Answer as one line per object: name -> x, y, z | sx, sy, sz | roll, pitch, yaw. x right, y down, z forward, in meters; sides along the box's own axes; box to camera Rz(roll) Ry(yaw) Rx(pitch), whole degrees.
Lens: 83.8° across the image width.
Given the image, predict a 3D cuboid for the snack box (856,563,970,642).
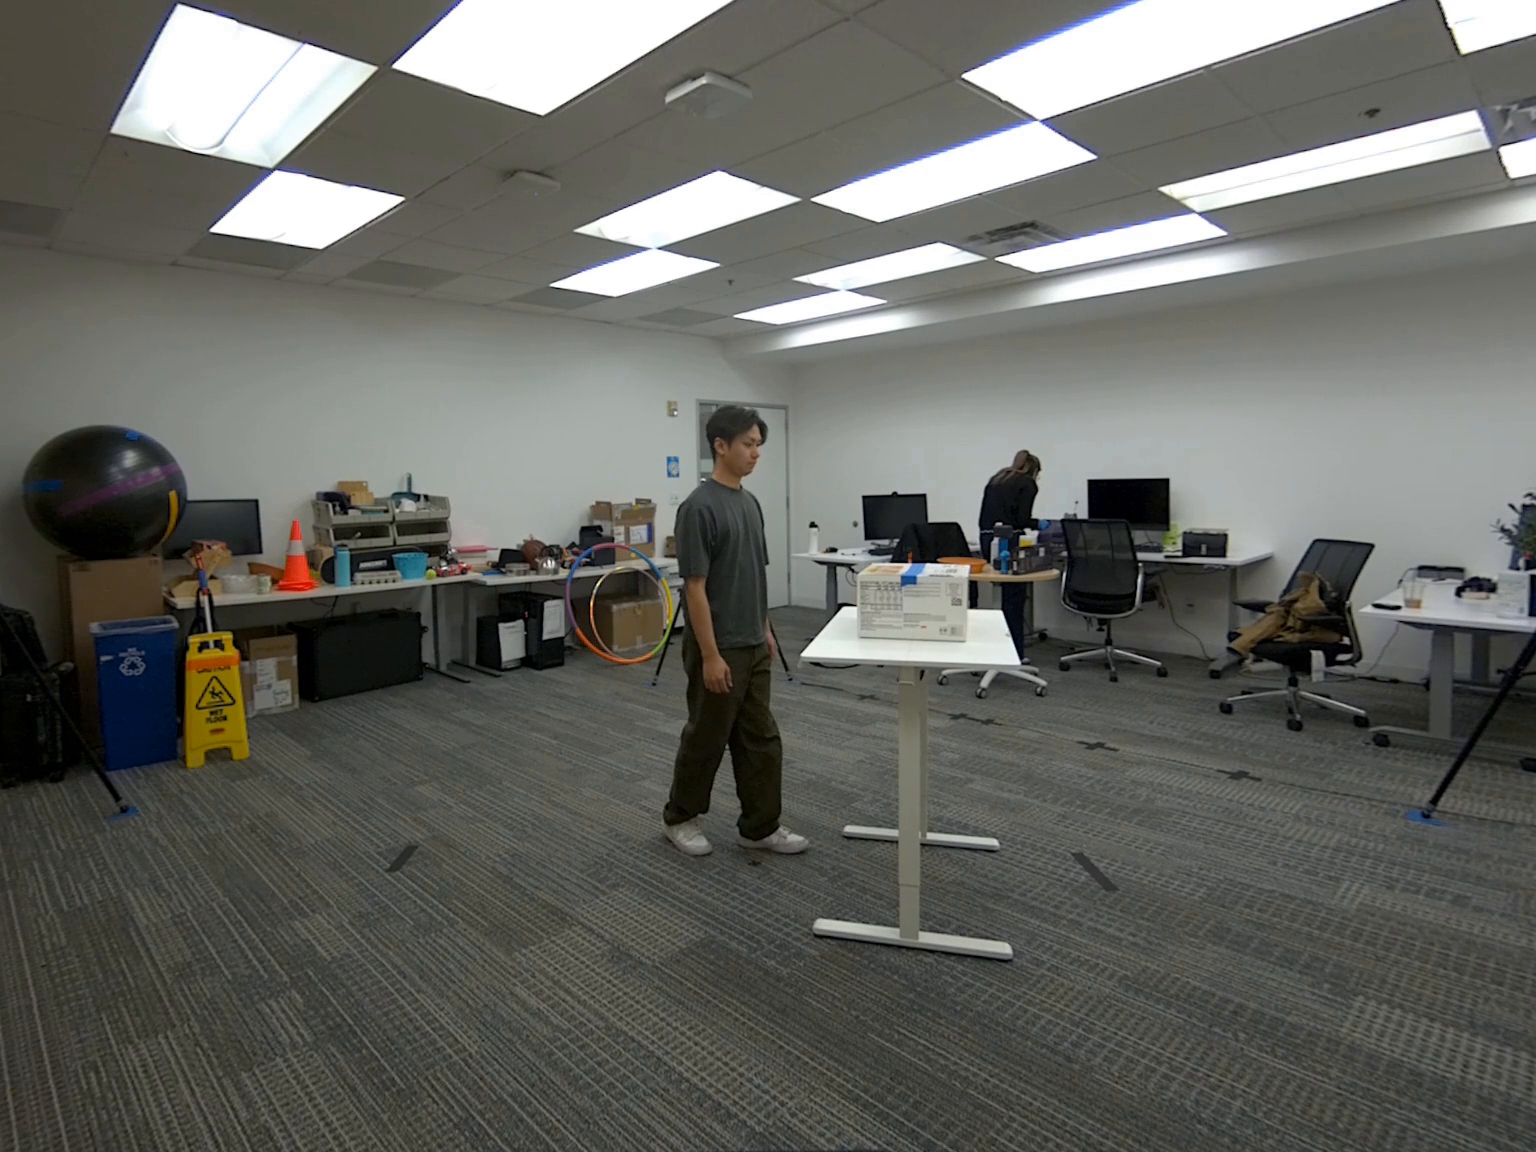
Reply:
snack box -> 0.499, 0.078, 2.863 | 0.346, 0.205, 0.400 | 0, 5, 15
